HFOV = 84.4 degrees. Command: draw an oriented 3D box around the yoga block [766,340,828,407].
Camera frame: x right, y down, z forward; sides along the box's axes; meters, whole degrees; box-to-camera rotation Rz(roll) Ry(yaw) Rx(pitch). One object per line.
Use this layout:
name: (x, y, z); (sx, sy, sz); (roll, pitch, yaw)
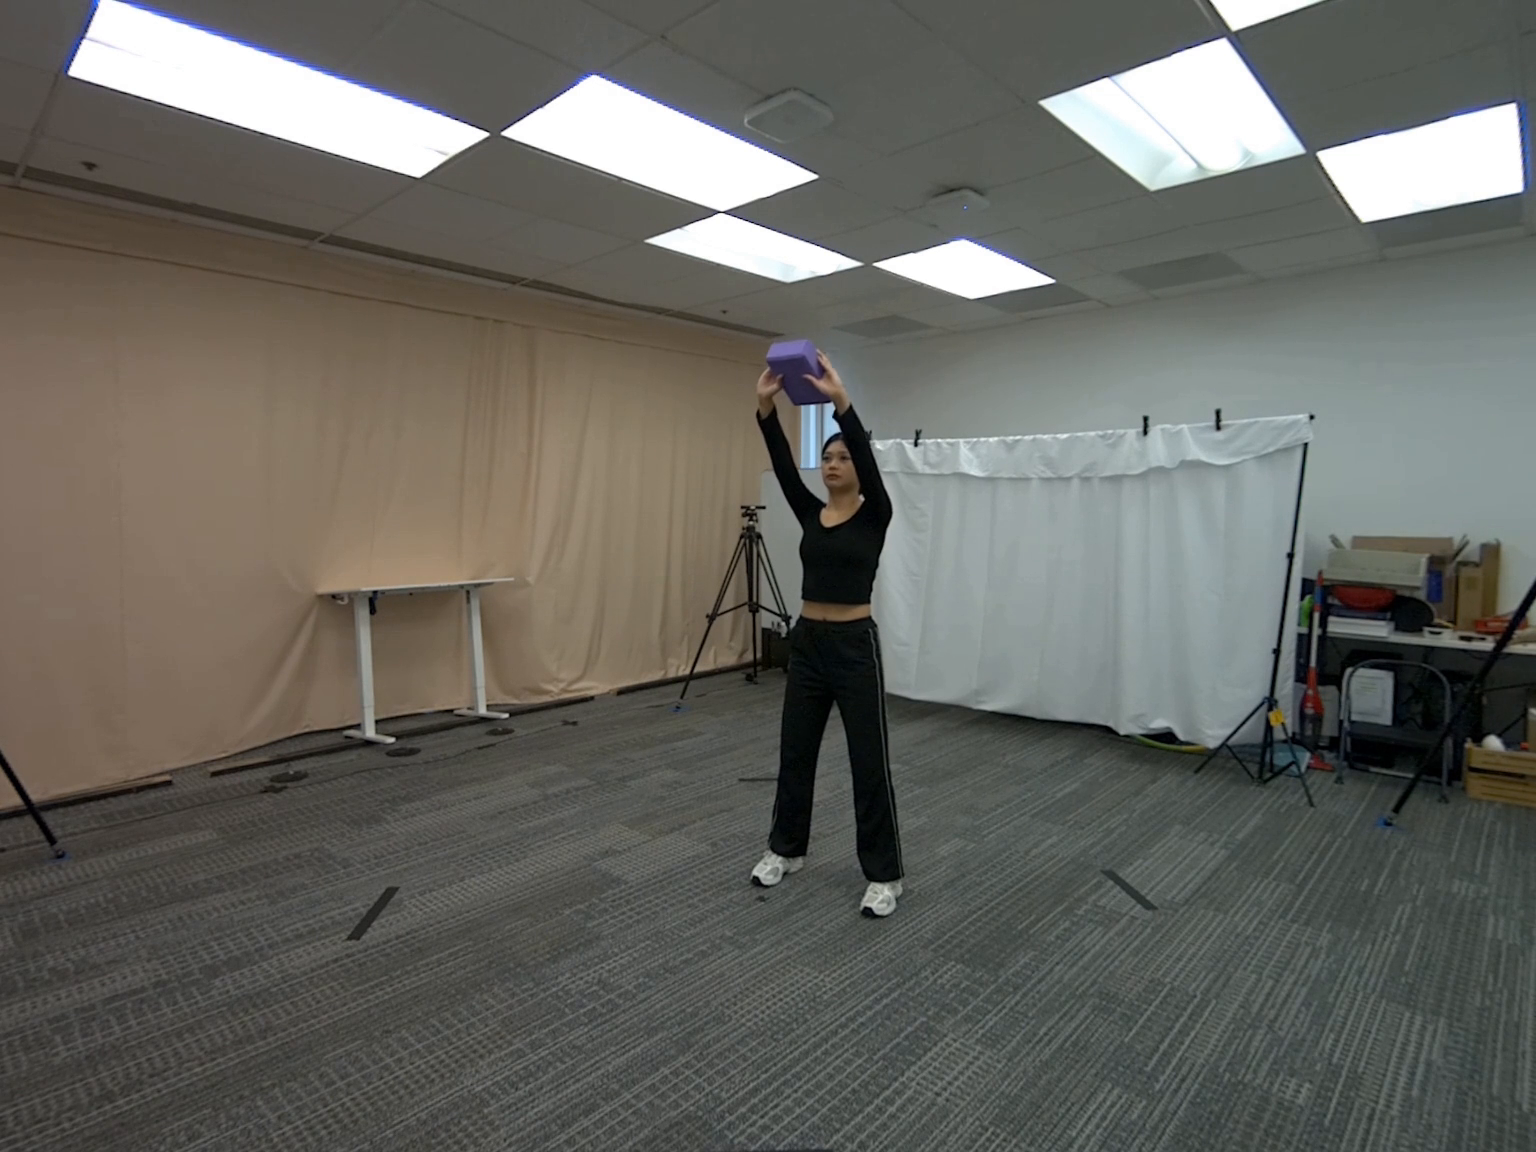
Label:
yoga block: (0.113, -0.647, 2.706); (0.154, 0.077, 0.221); (3, -31, 35)
